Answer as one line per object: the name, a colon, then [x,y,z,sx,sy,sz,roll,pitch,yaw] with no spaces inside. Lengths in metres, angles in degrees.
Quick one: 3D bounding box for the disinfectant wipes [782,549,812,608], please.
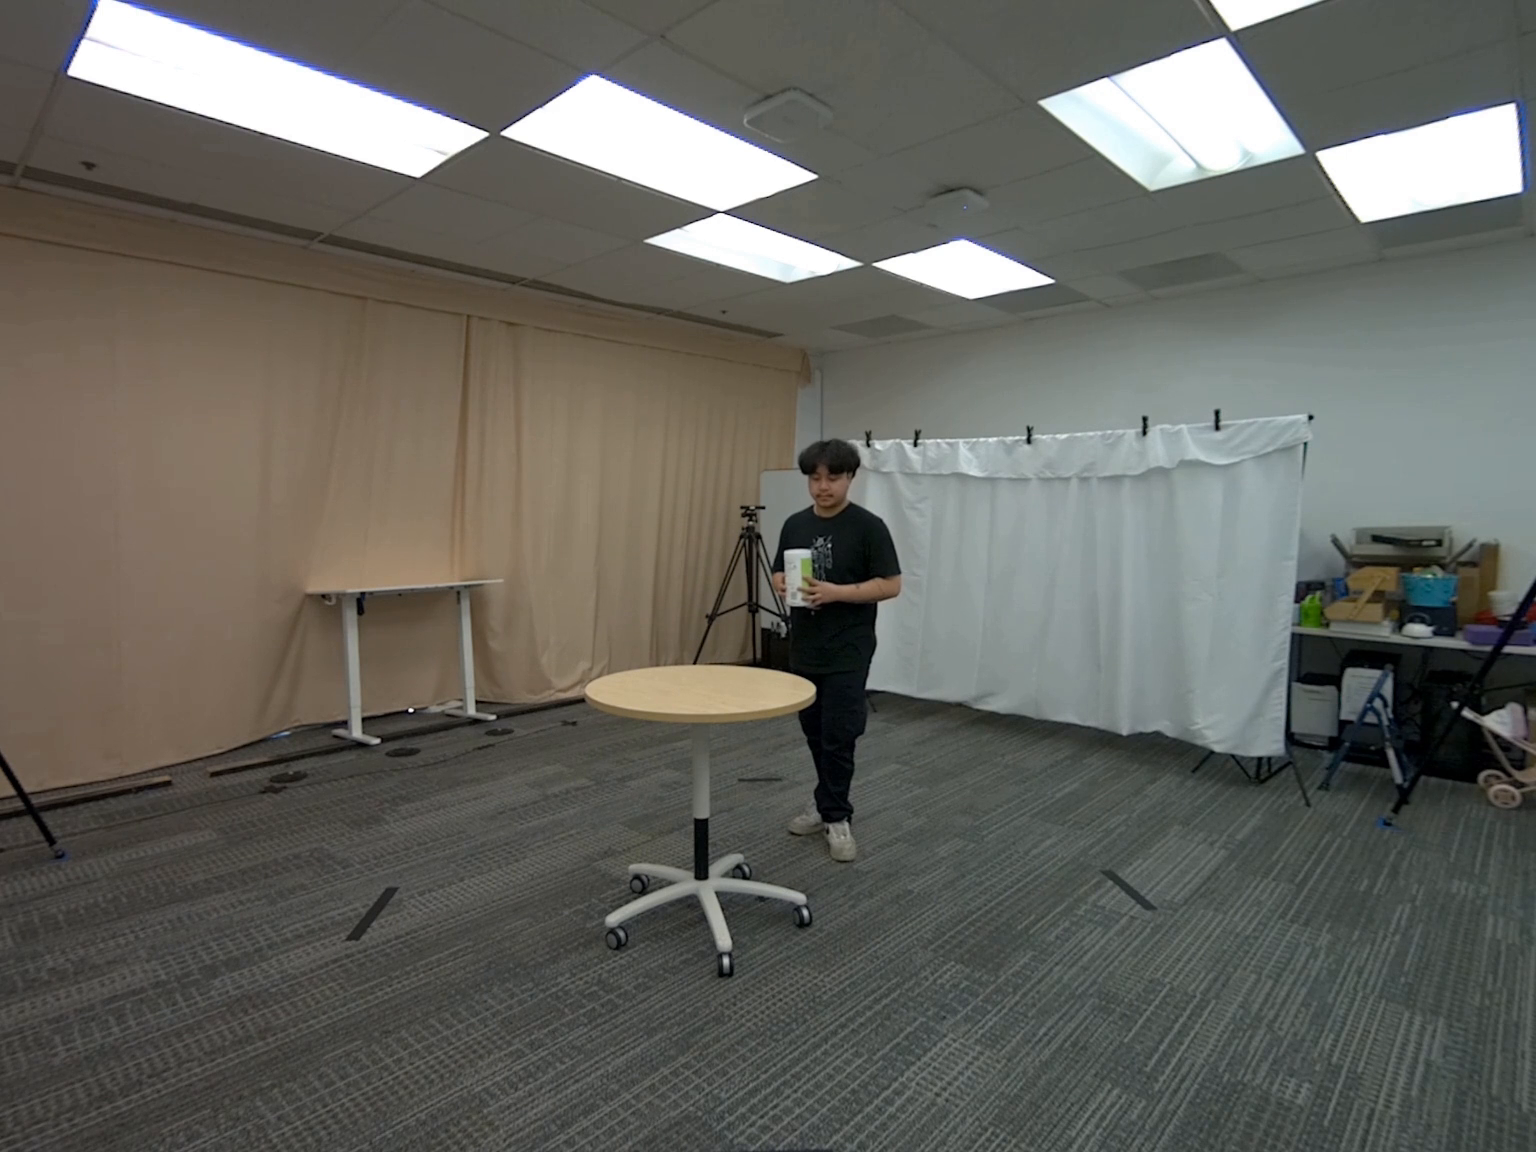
disinfectant wipes: [0.129,0.007,3.303,0.118,0.216,0.118,-2,8,-2]
